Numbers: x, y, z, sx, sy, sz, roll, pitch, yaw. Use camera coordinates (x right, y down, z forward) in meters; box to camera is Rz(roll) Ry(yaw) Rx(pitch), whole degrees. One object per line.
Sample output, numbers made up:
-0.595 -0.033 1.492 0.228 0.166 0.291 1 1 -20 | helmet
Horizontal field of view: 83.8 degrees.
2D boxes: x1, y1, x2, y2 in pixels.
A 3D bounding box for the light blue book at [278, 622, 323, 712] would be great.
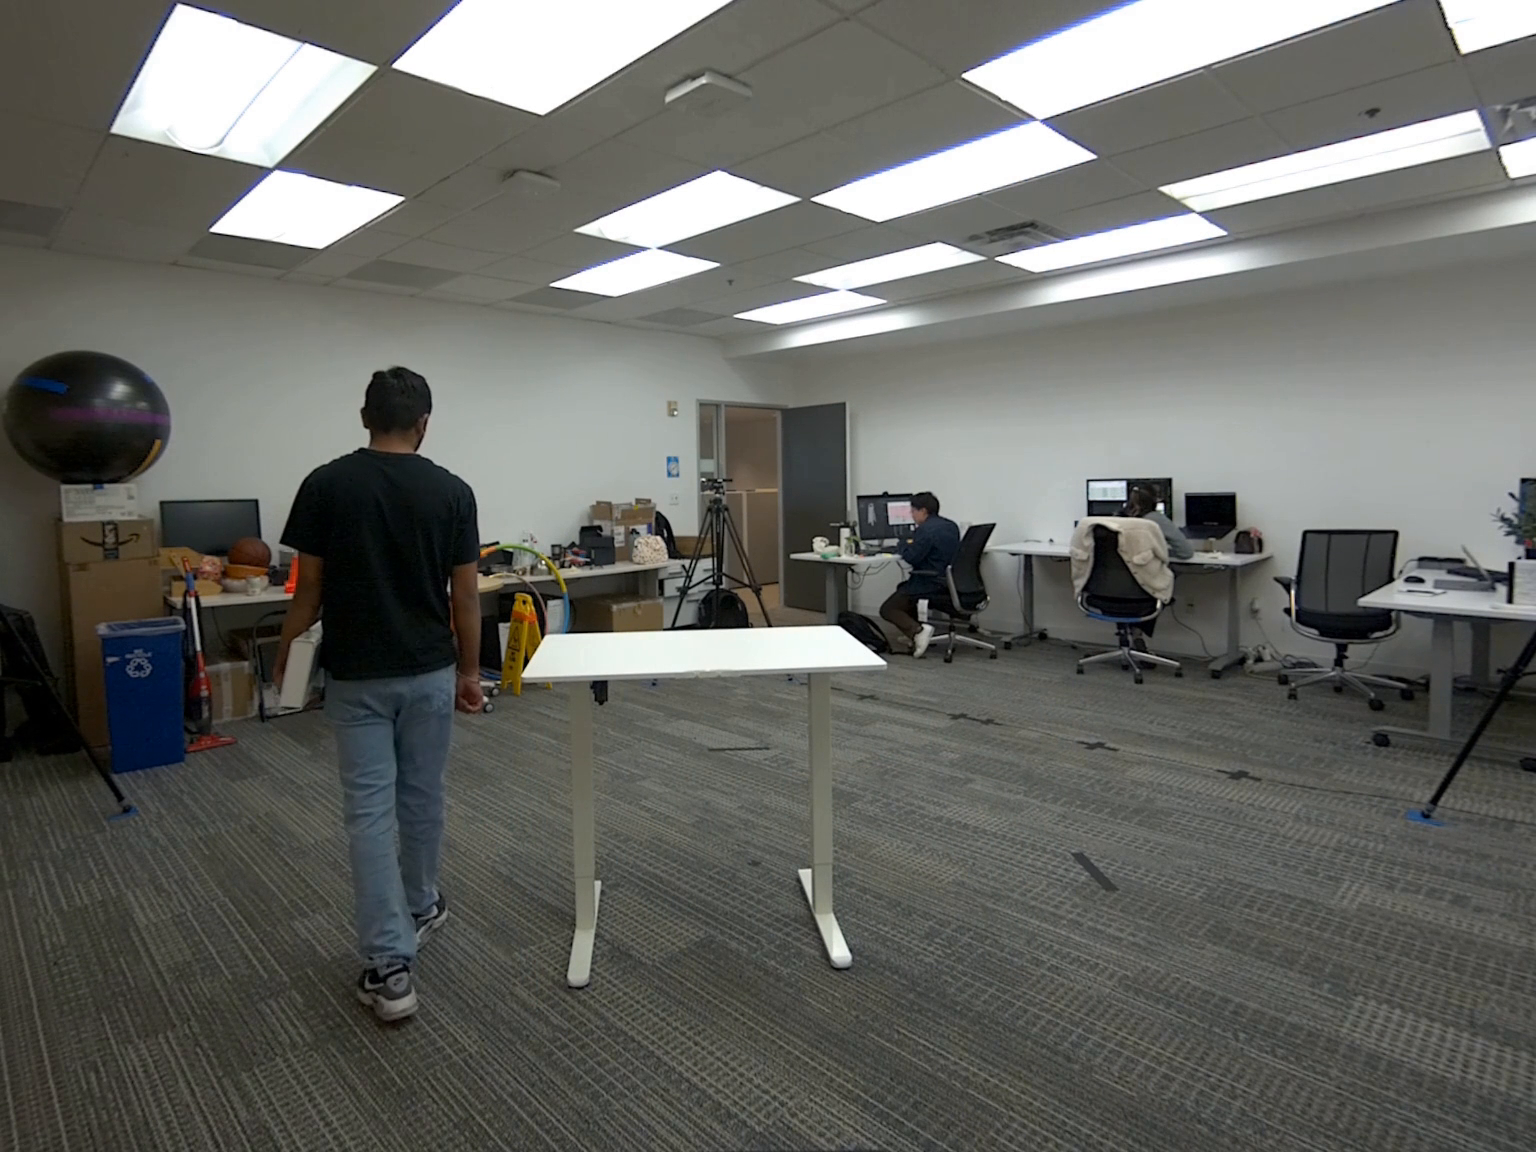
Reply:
-1.254 0.243 2.358 0.058 0.190 0.266 9 10 -14 | light blue book
